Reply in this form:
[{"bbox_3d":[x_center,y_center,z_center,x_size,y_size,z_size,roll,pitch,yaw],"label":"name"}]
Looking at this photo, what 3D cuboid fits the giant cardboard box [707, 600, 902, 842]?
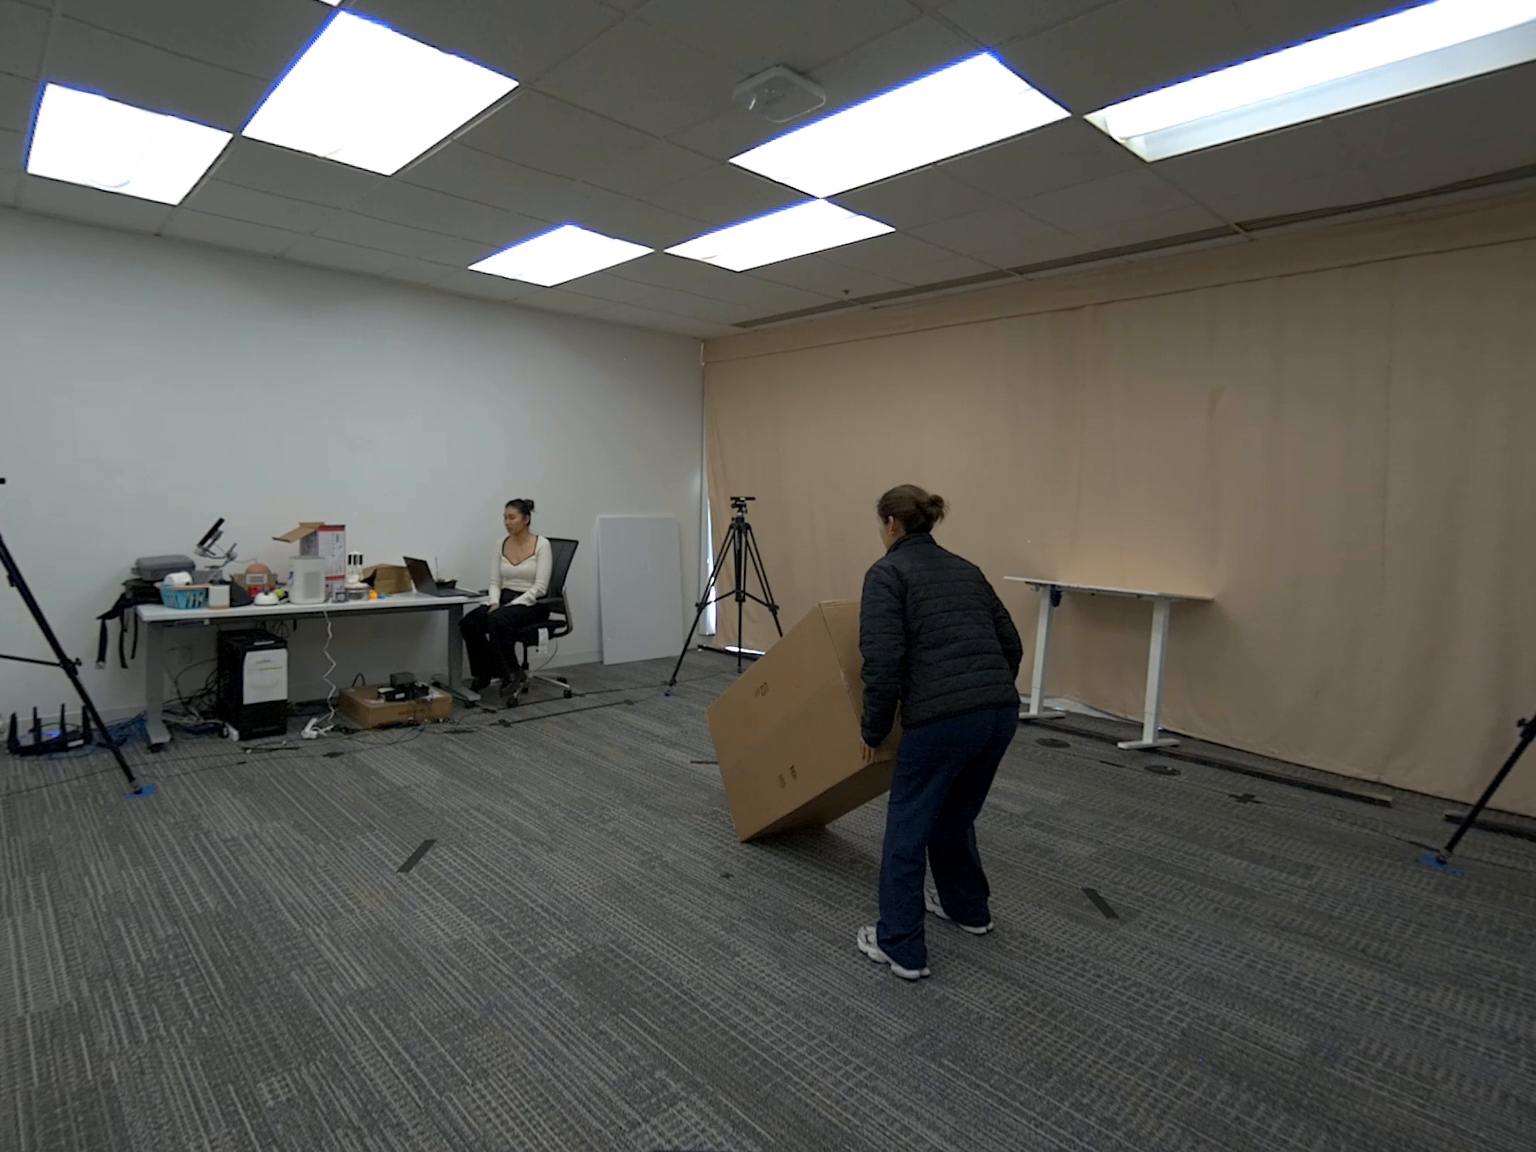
[{"bbox_3d":[0.207,0.578,3.249,0.437,0.597,1.026,1,-30,-31],"label":"giant cardboard box"}]
